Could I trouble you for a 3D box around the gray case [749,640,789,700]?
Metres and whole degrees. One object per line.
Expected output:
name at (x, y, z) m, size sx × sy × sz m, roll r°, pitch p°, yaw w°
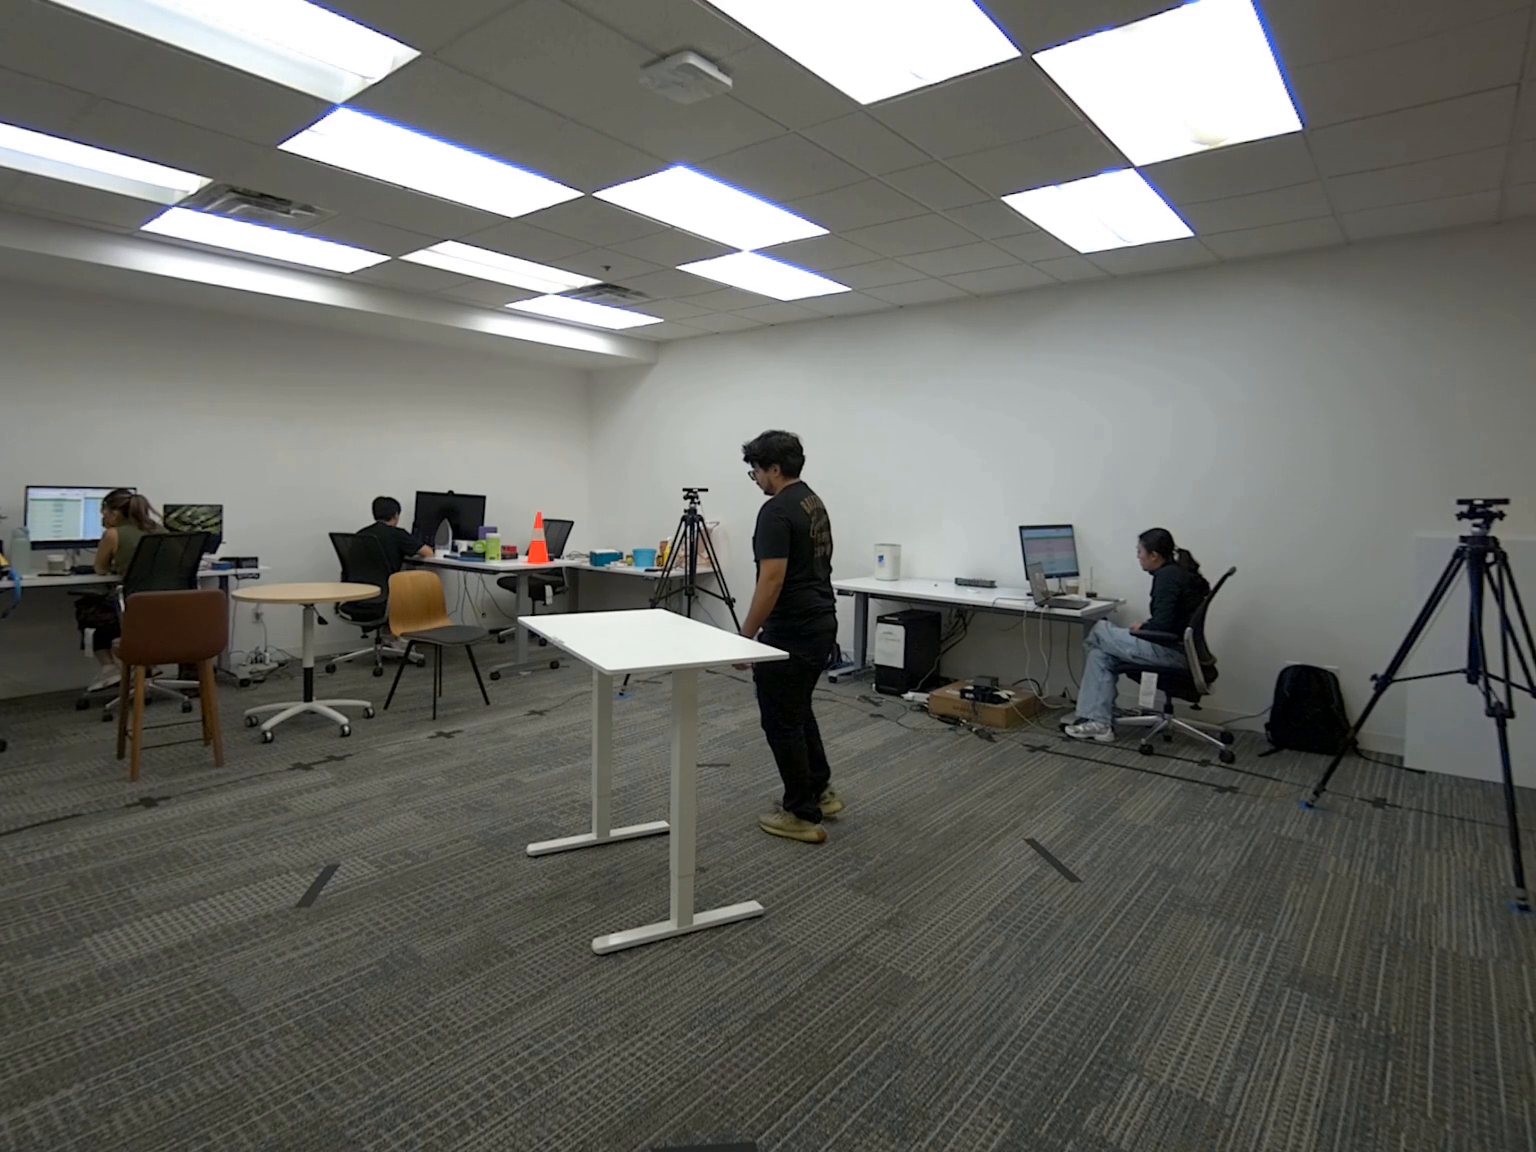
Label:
gray case at (0.051, 0.421, 3.795) m, size 0.259 × 0.257 × 0.105 m, roll 4°, pitch 14°, yaw 8°
